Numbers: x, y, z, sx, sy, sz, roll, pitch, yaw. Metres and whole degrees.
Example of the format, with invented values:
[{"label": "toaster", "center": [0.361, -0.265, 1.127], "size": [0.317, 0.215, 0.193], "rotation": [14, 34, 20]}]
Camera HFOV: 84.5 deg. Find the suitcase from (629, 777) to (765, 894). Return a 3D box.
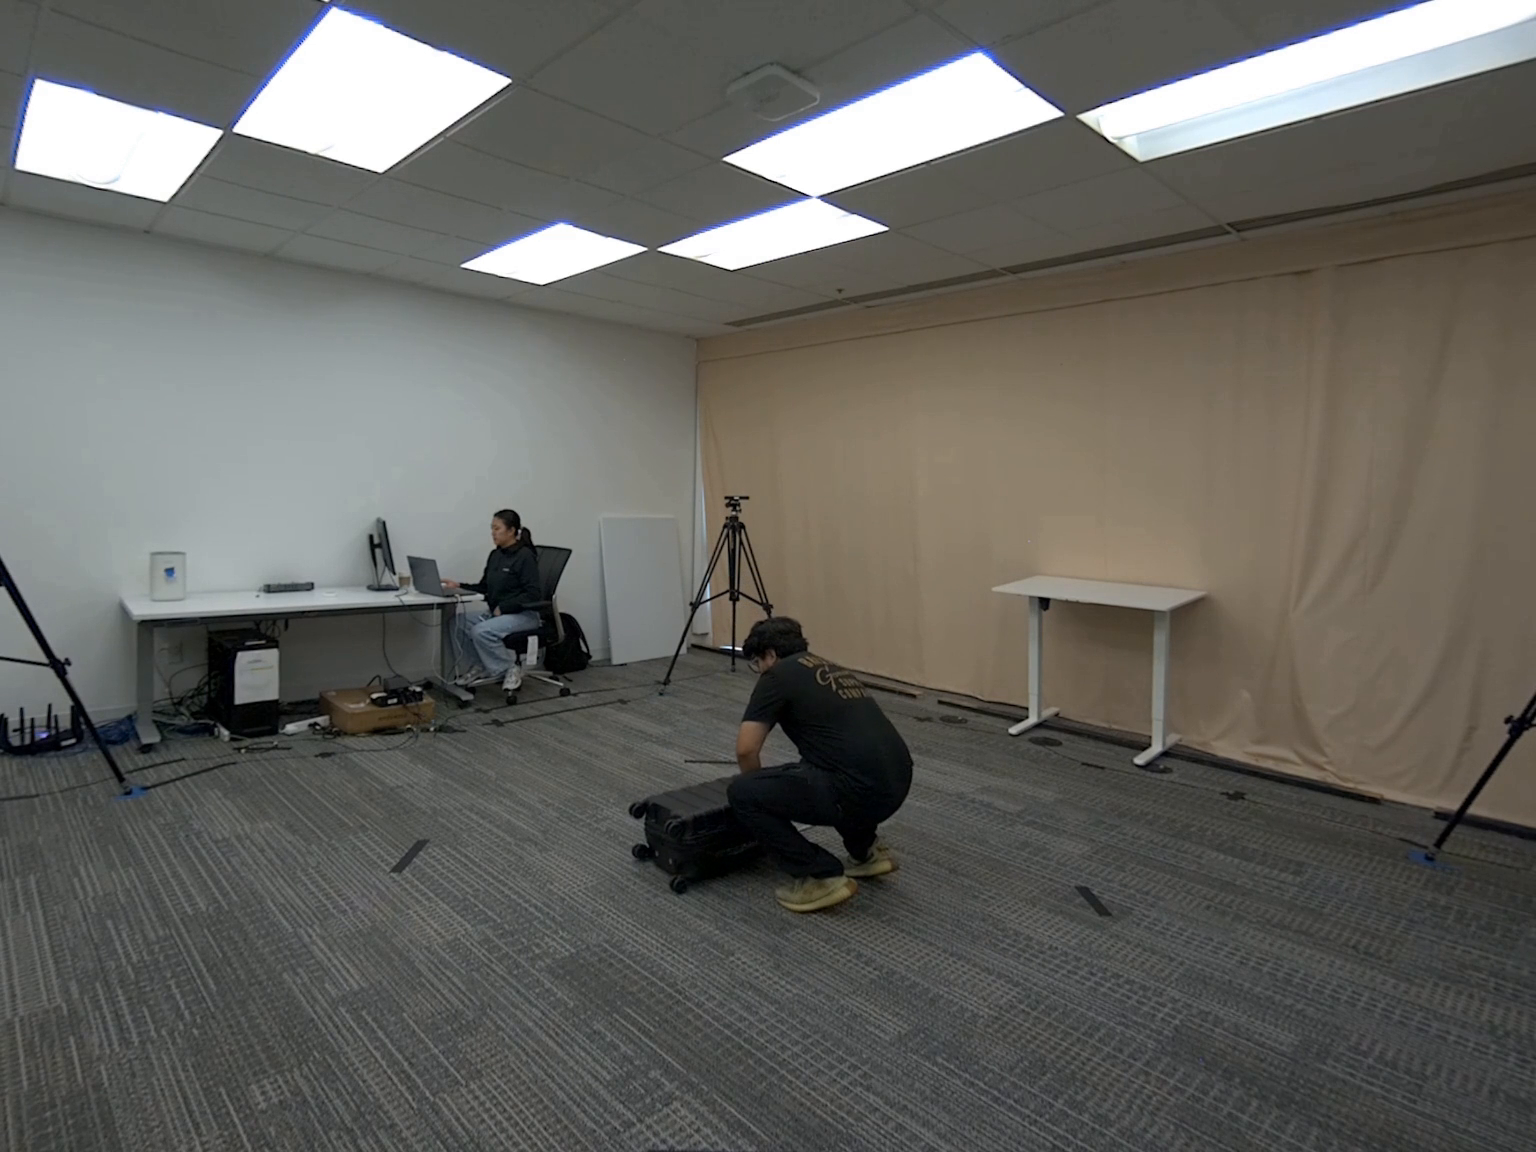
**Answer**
[{"label": "suitcase", "center": [-0.049, 0.922, 3.329], "size": [0.960, 0.256, 0.392], "rotation": [-8, 4, -33]}]
